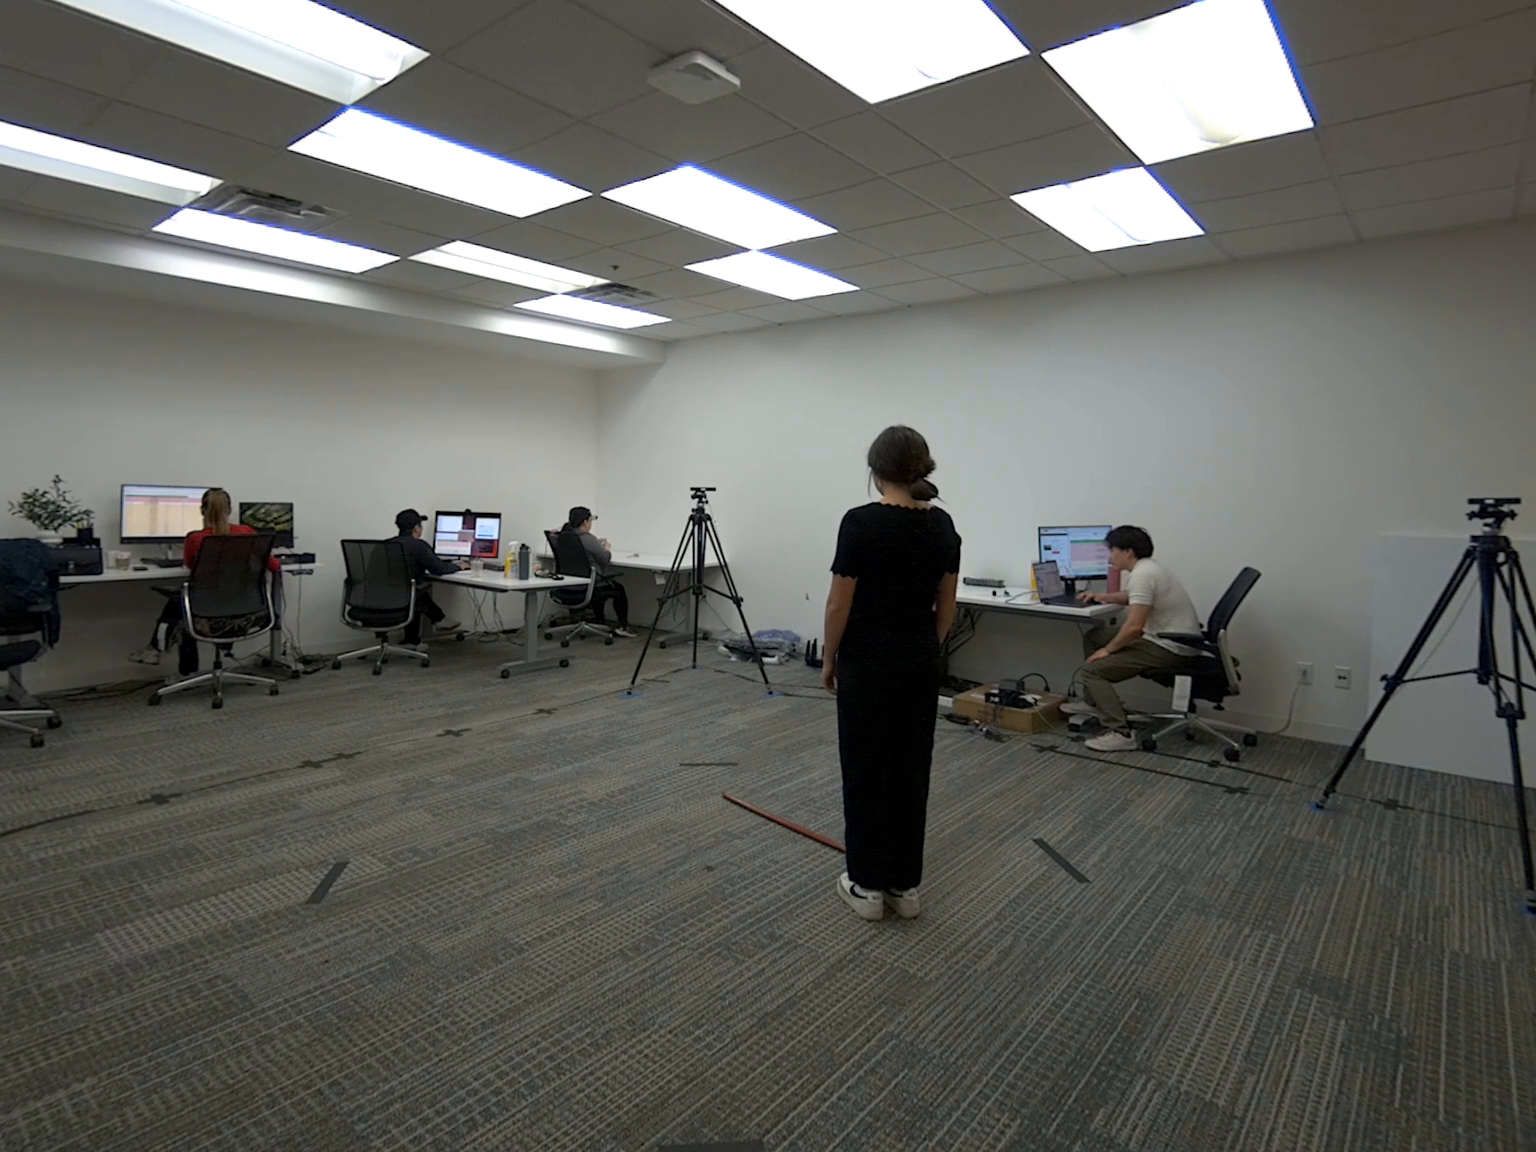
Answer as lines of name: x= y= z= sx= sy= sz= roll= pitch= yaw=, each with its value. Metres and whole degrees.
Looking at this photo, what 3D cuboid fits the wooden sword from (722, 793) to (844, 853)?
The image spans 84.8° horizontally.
wooden sword: x=0.121 y=1.016 z=3.443 sx=0.049 sy=0.024 sz=1.060 roll=6 pitch=1 yaw=-41
